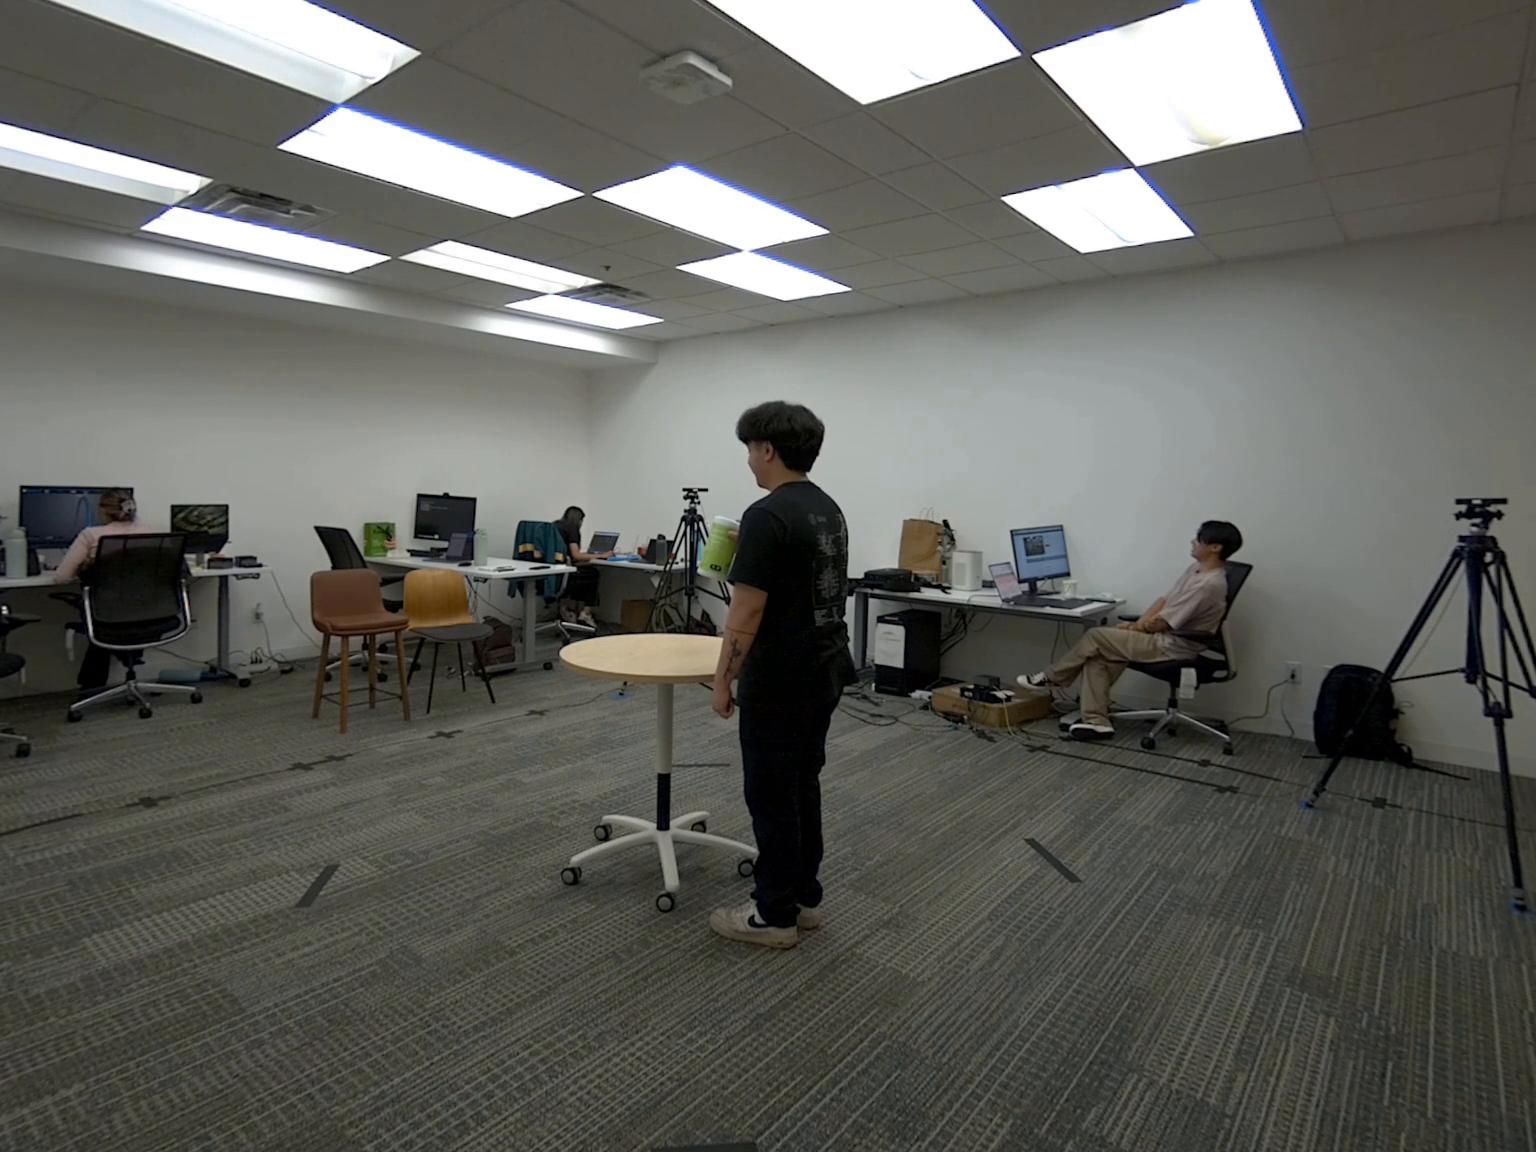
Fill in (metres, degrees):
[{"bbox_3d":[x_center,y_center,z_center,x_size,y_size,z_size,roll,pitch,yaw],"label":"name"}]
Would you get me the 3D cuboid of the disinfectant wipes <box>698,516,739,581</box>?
[{"bbox_3d":[-0.178,-0.093,3.016,0.117,0.217,0.118,14,1,-2],"label":"disinfectant wipes"}]
